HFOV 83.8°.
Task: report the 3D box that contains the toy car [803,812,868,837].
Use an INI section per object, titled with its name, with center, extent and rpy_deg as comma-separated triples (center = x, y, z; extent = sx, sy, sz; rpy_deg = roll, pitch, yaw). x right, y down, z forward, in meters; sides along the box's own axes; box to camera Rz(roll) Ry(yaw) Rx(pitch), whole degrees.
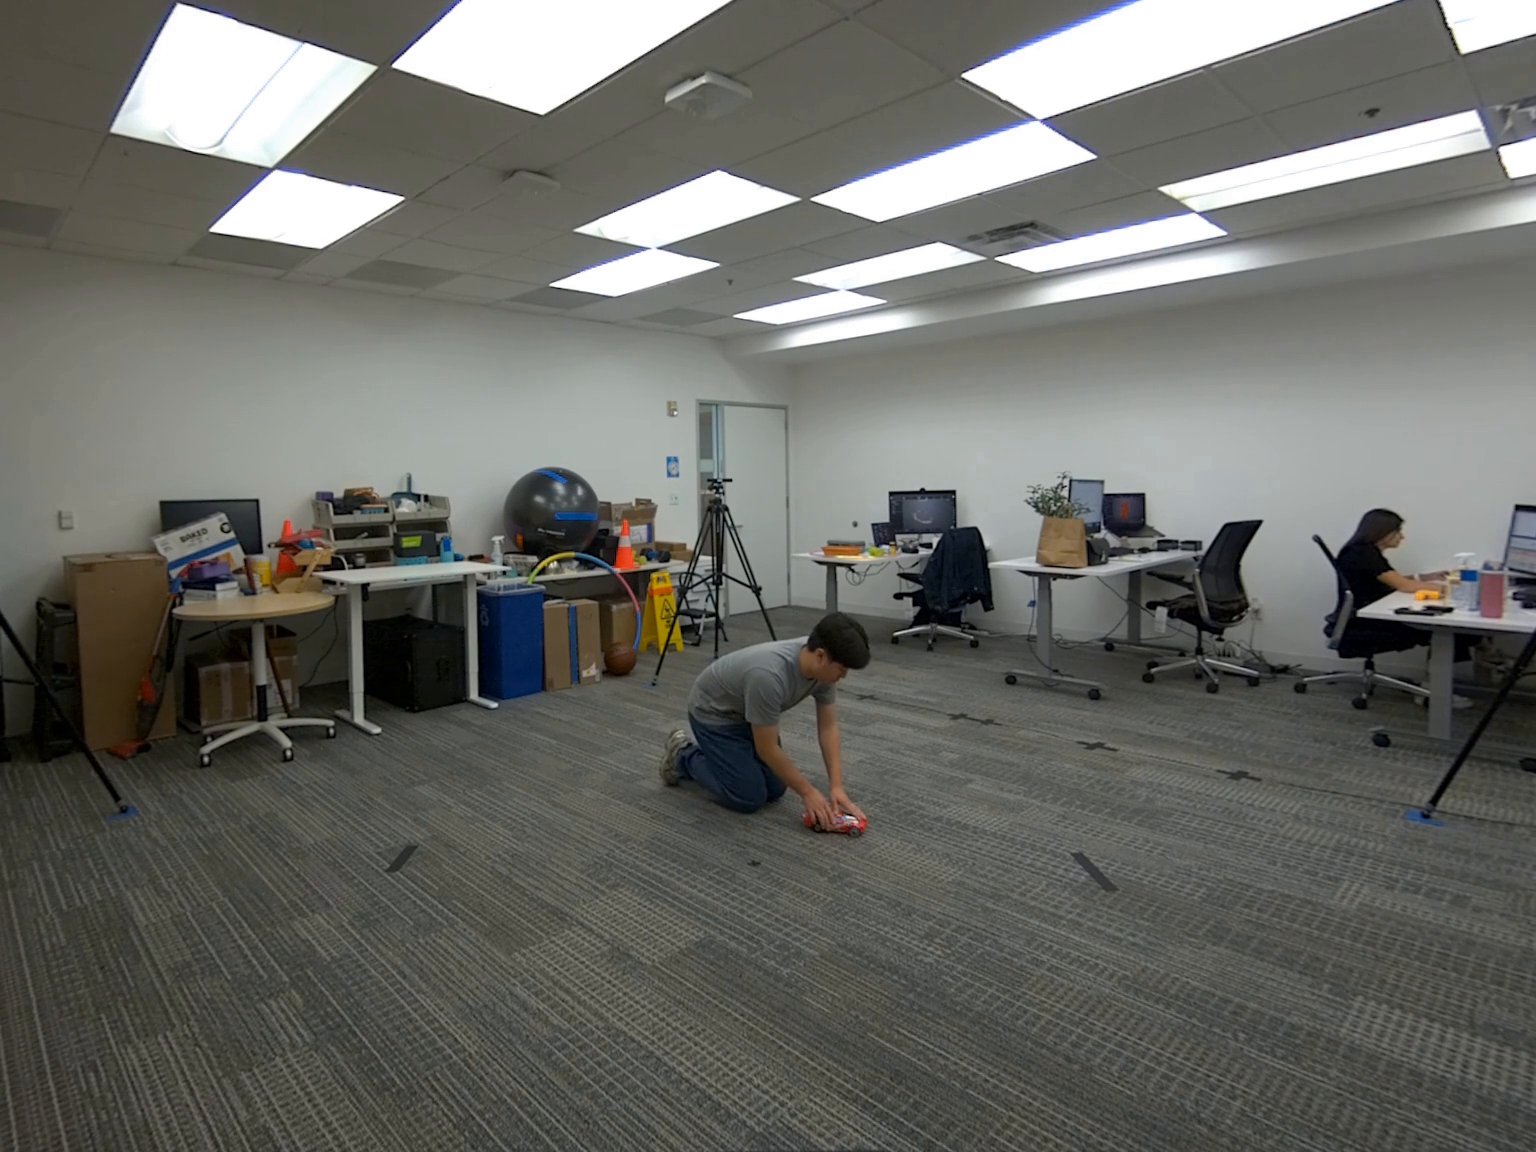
[toy car]
center = 0.266, 0.980, 3.400
extent = 0.259, 0.083, 0.128
rpy_deg = 13, 8, 17
